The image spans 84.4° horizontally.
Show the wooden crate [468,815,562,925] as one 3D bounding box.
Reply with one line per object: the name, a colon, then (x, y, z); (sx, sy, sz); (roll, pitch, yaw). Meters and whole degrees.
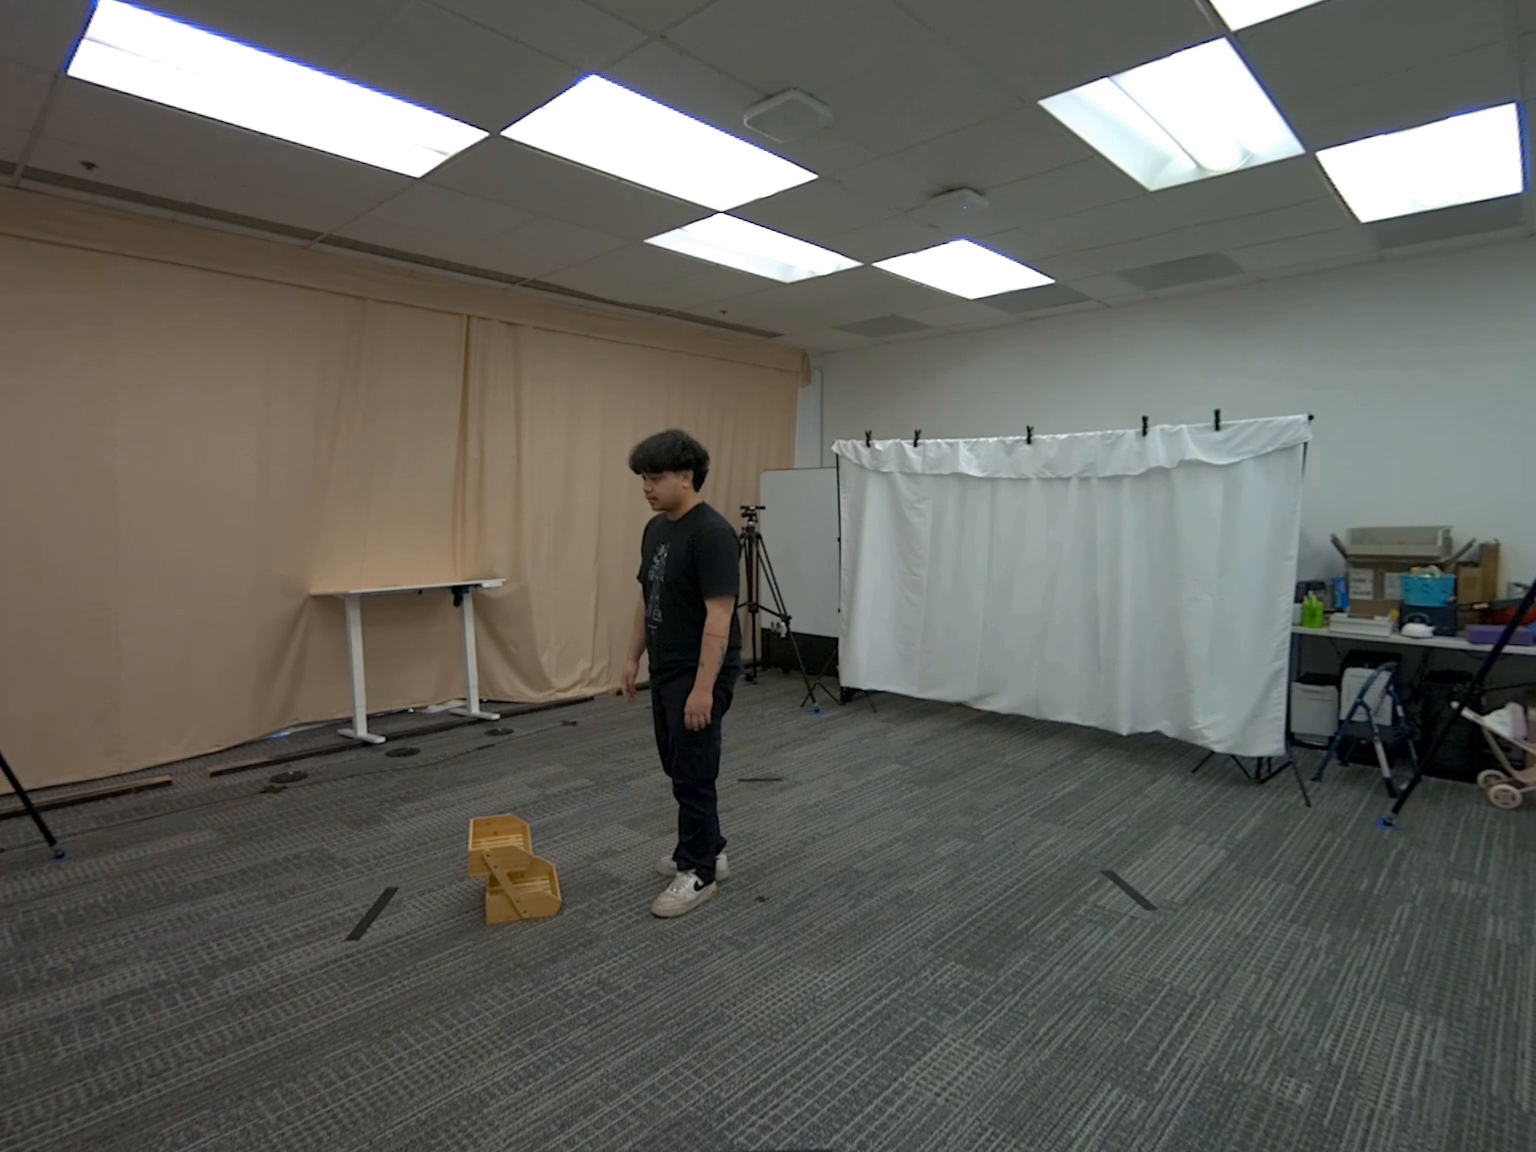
wooden crate: (-0.899, 1.020, 2.976); (0.297, 0.273, 0.330); (-3, 4, -17)
